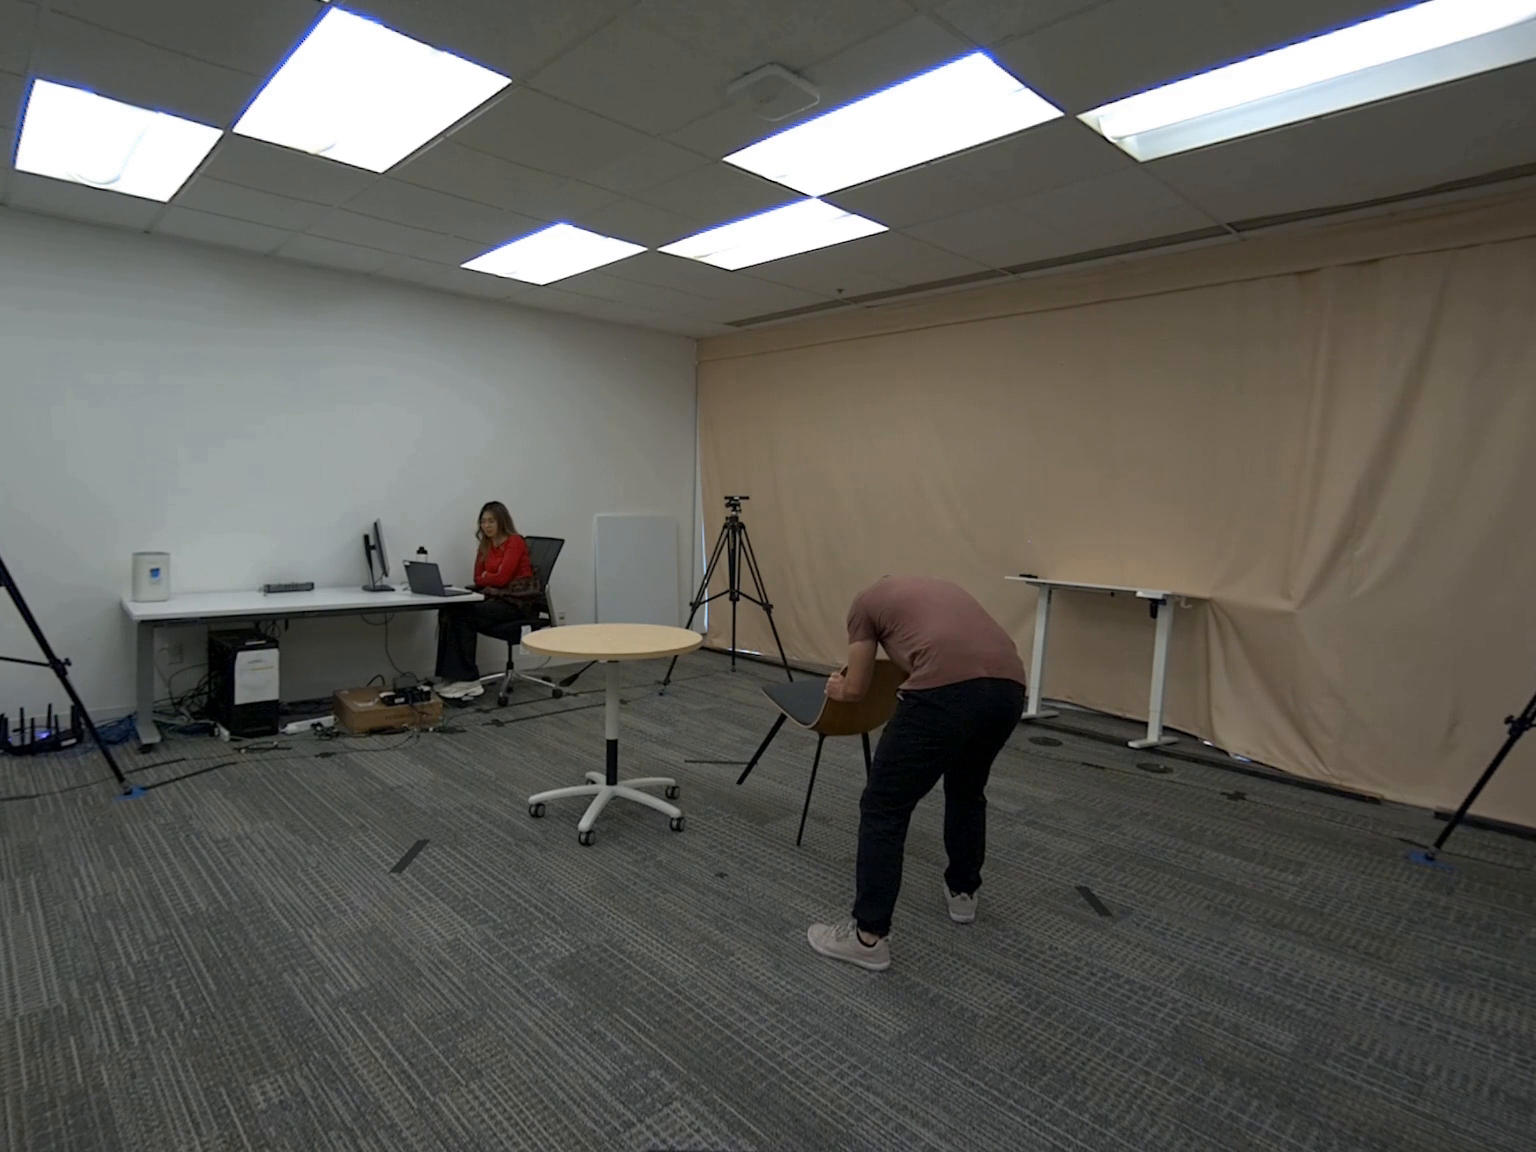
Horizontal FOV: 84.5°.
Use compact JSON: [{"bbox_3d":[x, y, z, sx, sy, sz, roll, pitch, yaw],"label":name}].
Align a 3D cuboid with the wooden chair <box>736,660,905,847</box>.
[{"bbox_3d":[0.239,0.596,3.556,0.467,0.869,0.540,0,24,-36],"label":"wooden chair"}]
